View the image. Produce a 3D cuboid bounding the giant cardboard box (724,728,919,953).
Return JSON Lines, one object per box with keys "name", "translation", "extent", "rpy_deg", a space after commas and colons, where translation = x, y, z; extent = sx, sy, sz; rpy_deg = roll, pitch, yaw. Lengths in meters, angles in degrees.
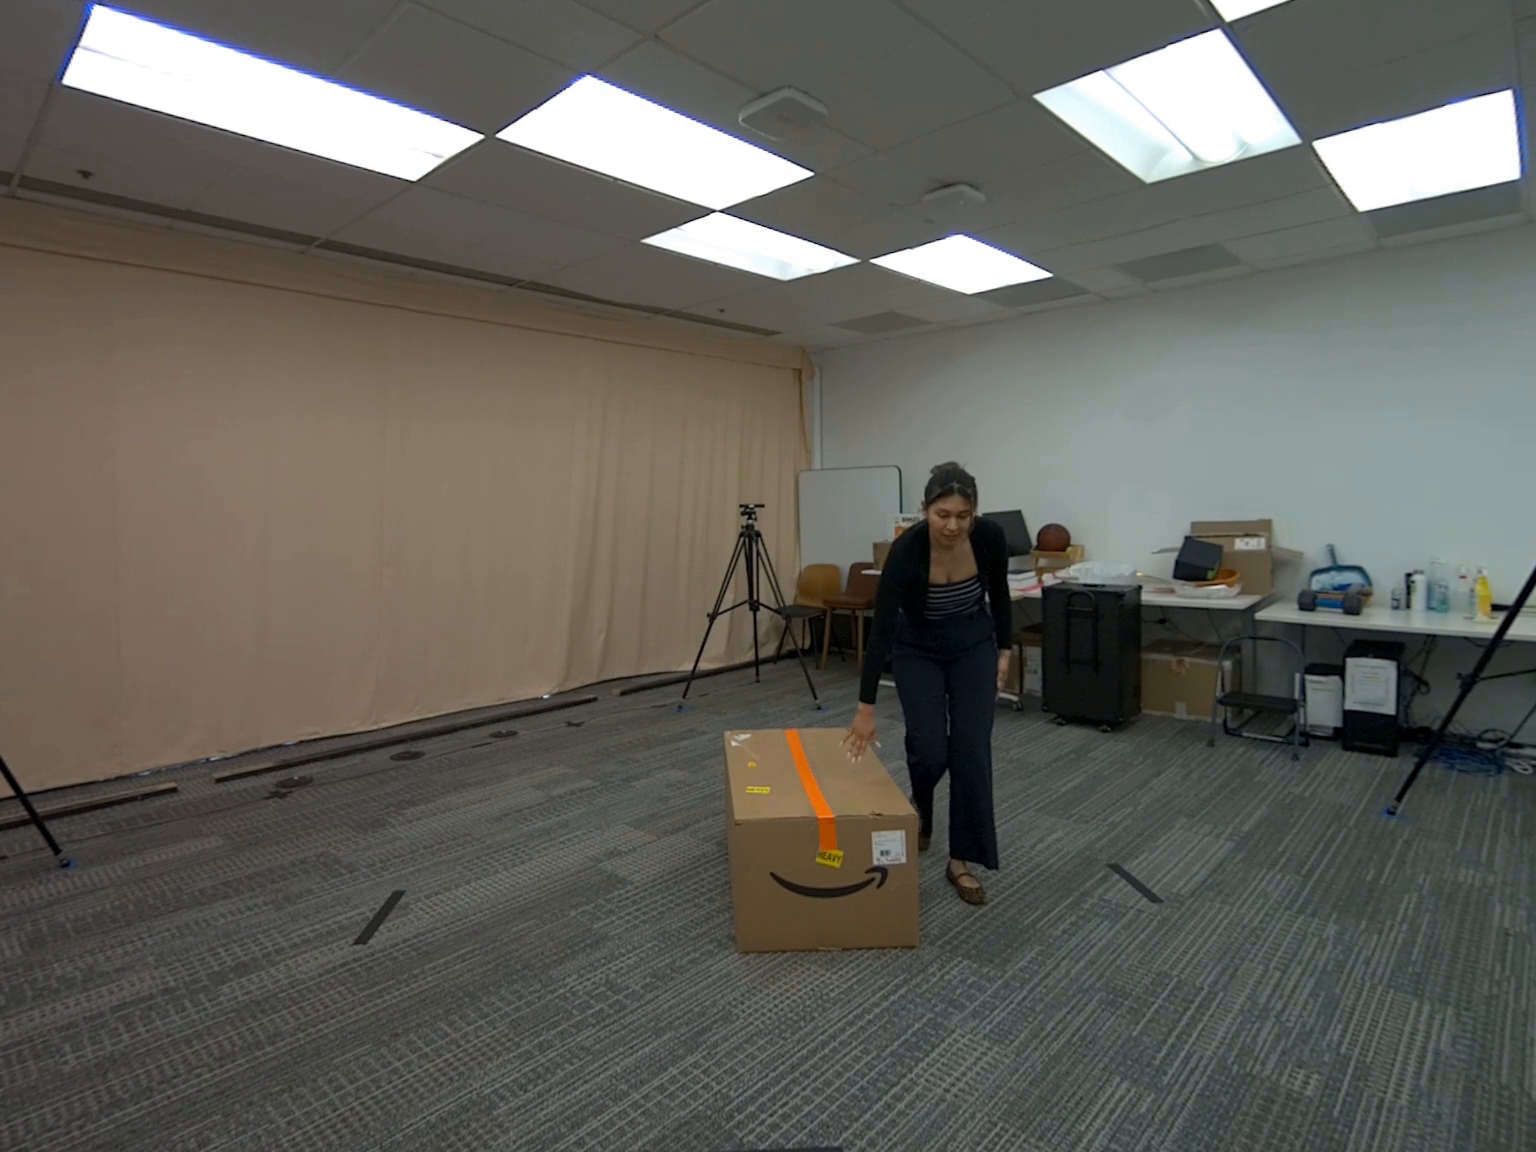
{"name": "giant cardboard box", "translation": [0.148, 0.910, 3.119], "extent": [0.576, 0.425, 1.032], "rpy_deg": [-2, 5, -4]}
